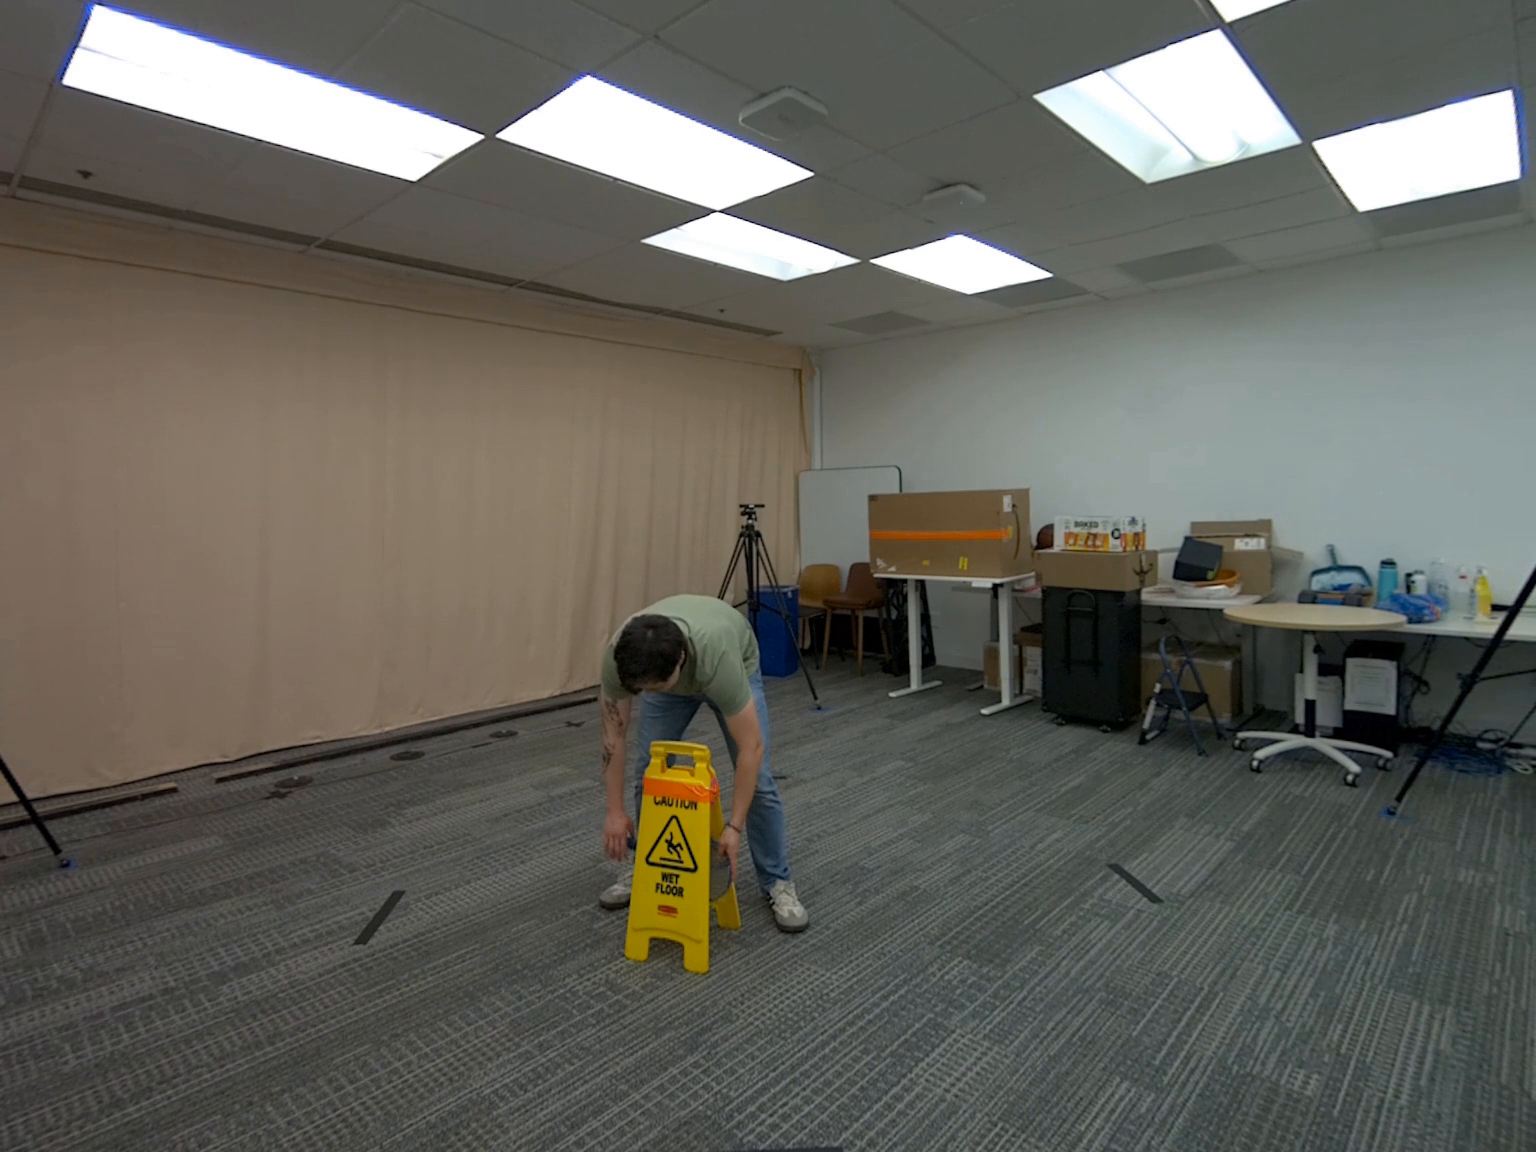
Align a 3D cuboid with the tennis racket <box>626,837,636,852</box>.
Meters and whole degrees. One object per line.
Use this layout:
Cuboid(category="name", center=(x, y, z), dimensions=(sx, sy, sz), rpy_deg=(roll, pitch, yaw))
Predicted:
Cuboid(category="tennis racket", center=(-0.302, 0.889, 2.680), dimensions=(0.445, 0.214, 0.031), rpy_deg=(6, -5, 26))
